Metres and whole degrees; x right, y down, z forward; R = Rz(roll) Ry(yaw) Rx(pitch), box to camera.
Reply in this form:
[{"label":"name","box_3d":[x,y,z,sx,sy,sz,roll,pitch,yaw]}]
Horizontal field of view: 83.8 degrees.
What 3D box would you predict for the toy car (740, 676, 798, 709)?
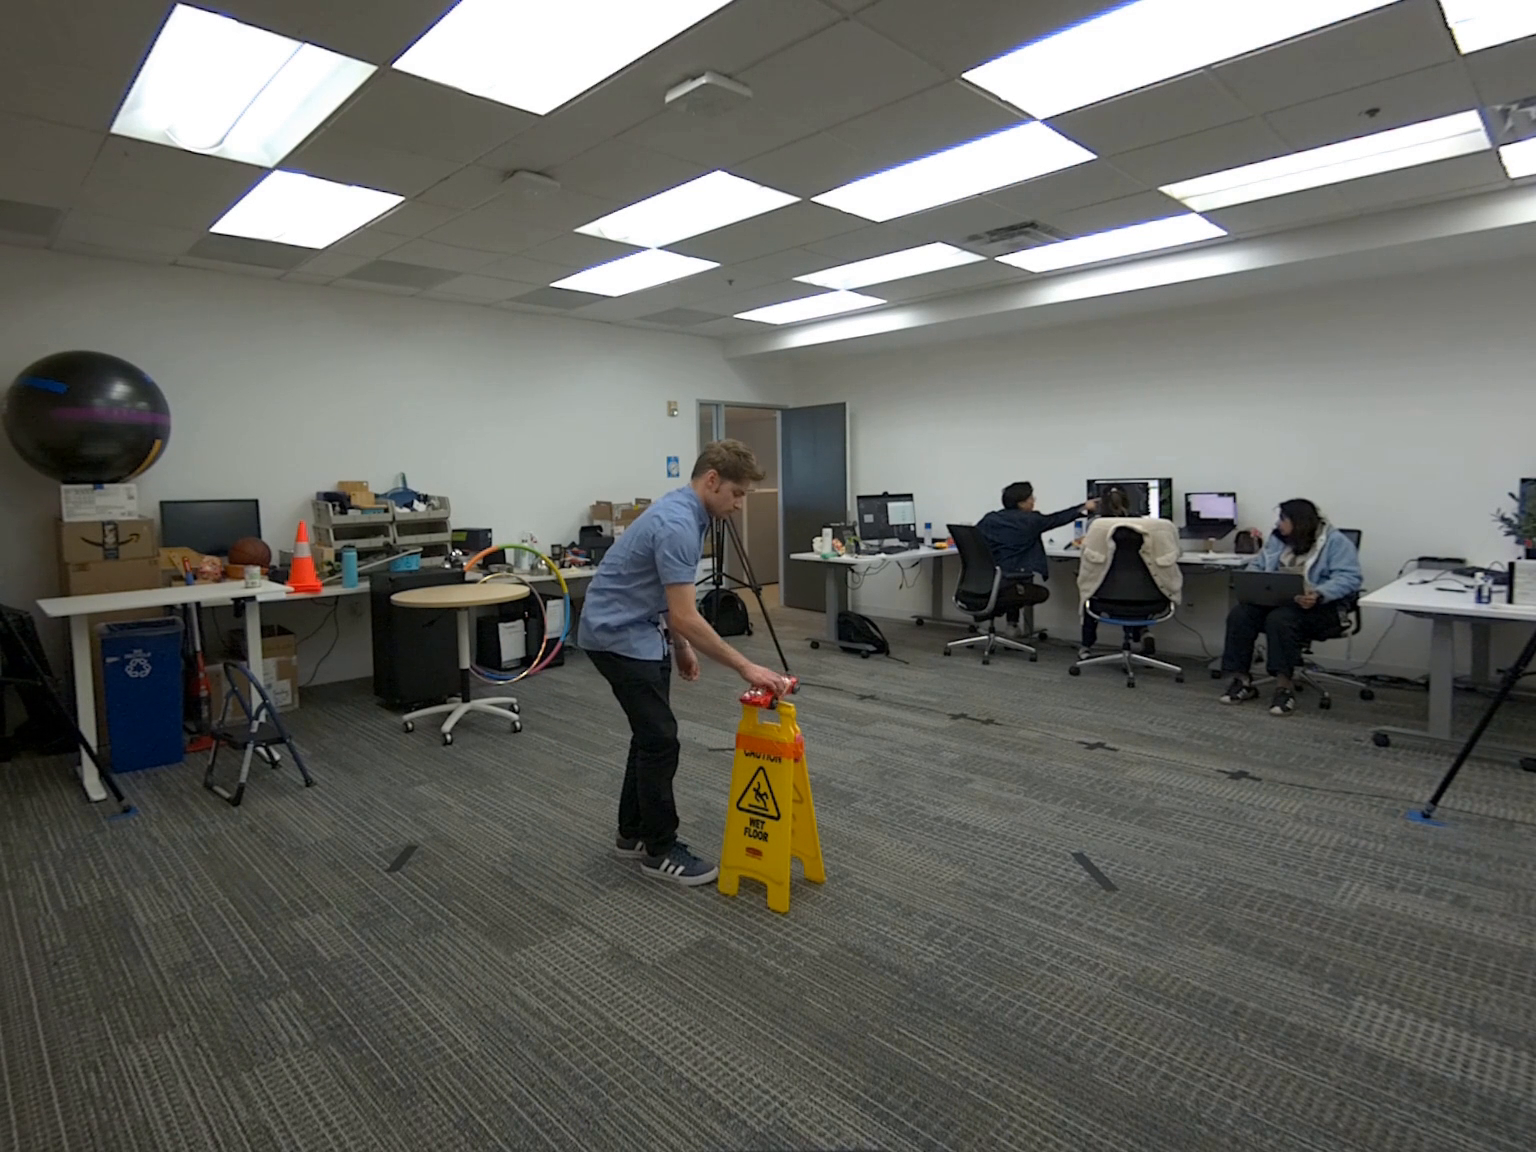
[{"label":"toy car","box_3d":[-0.006,0.394,2.879,0.134,0.083,0.248,3,5,32]}]
